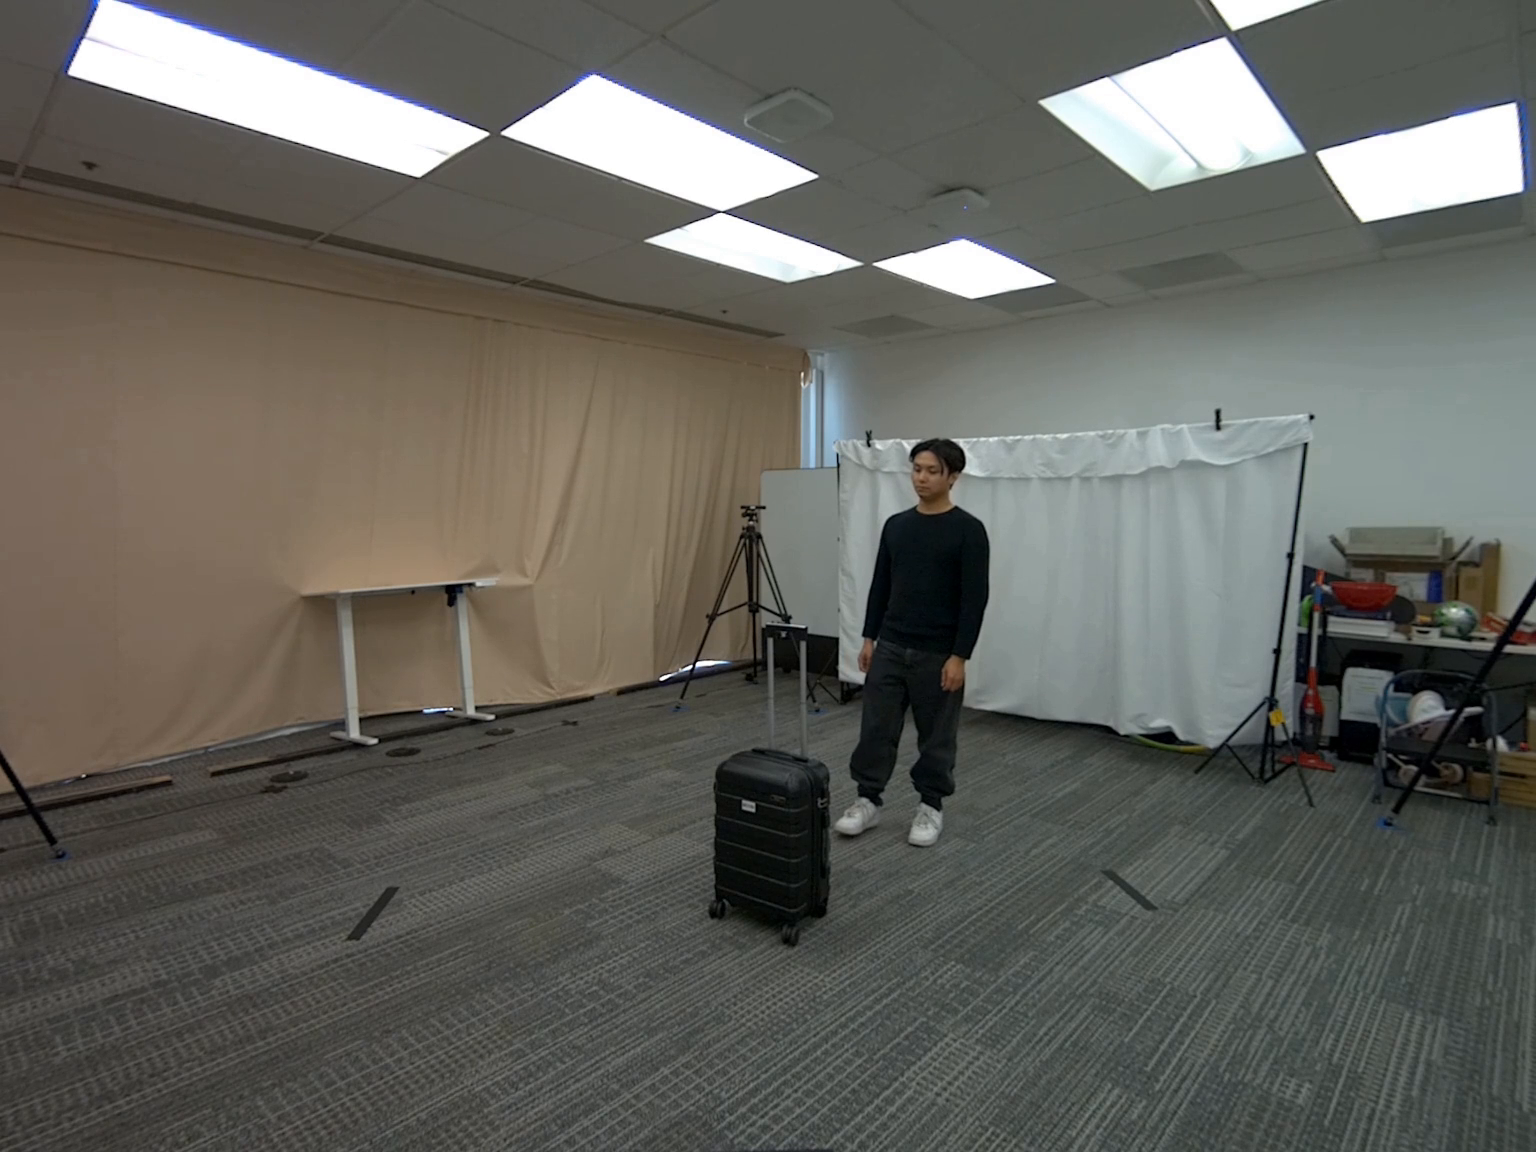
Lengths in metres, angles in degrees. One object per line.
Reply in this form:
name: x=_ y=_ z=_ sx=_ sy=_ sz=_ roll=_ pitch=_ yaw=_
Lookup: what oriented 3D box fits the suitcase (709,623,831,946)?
suitcase: x=0.012 y=0.677 z=2.833 sx=0.396 sy=0.976 sz=0.250 roll=2 pitch=5 yaw=34
